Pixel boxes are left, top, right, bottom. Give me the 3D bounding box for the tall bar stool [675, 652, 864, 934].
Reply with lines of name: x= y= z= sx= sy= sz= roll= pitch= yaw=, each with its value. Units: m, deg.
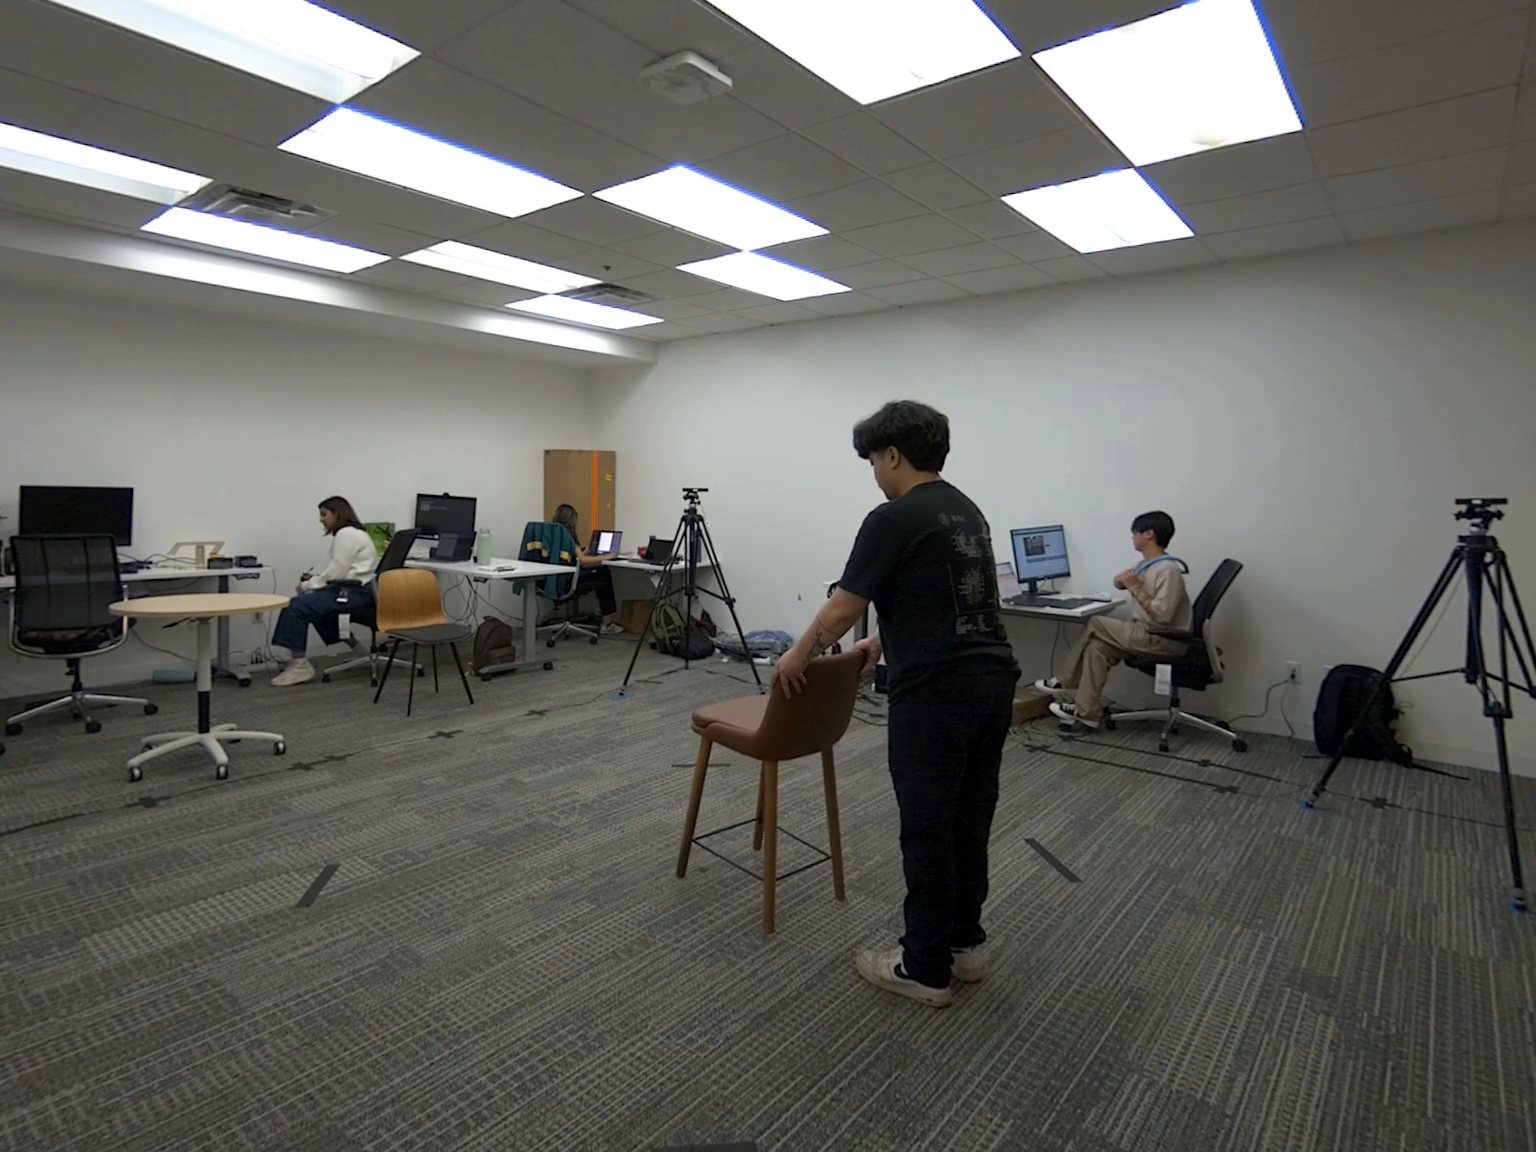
tall bar stool: x=0.008 y=0.647 z=2.903 sx=0.442 sy=0.885 sz=0.485 roll=-1 pitch=9 yaw=-44
